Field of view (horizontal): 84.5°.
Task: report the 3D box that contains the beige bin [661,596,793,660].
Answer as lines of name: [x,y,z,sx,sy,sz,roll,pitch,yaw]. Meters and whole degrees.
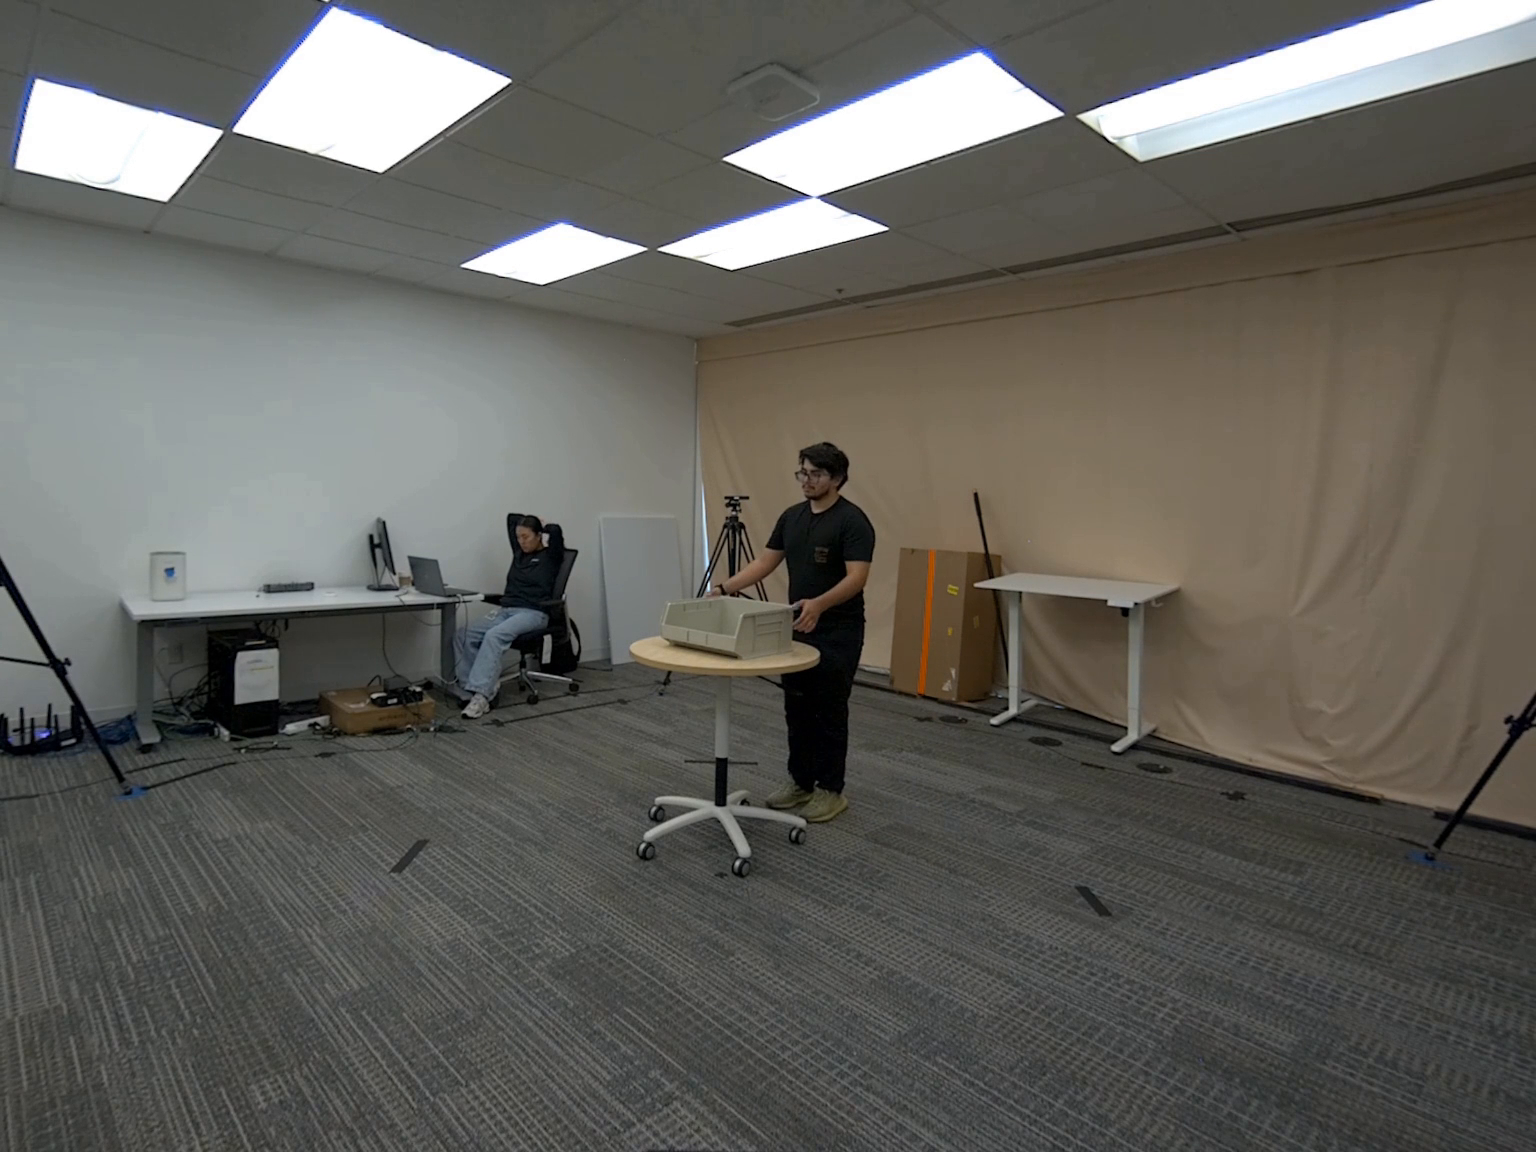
beige bin: [-0.172,0.207,3.408,0.433,0.188,0.368,6,5,40]
